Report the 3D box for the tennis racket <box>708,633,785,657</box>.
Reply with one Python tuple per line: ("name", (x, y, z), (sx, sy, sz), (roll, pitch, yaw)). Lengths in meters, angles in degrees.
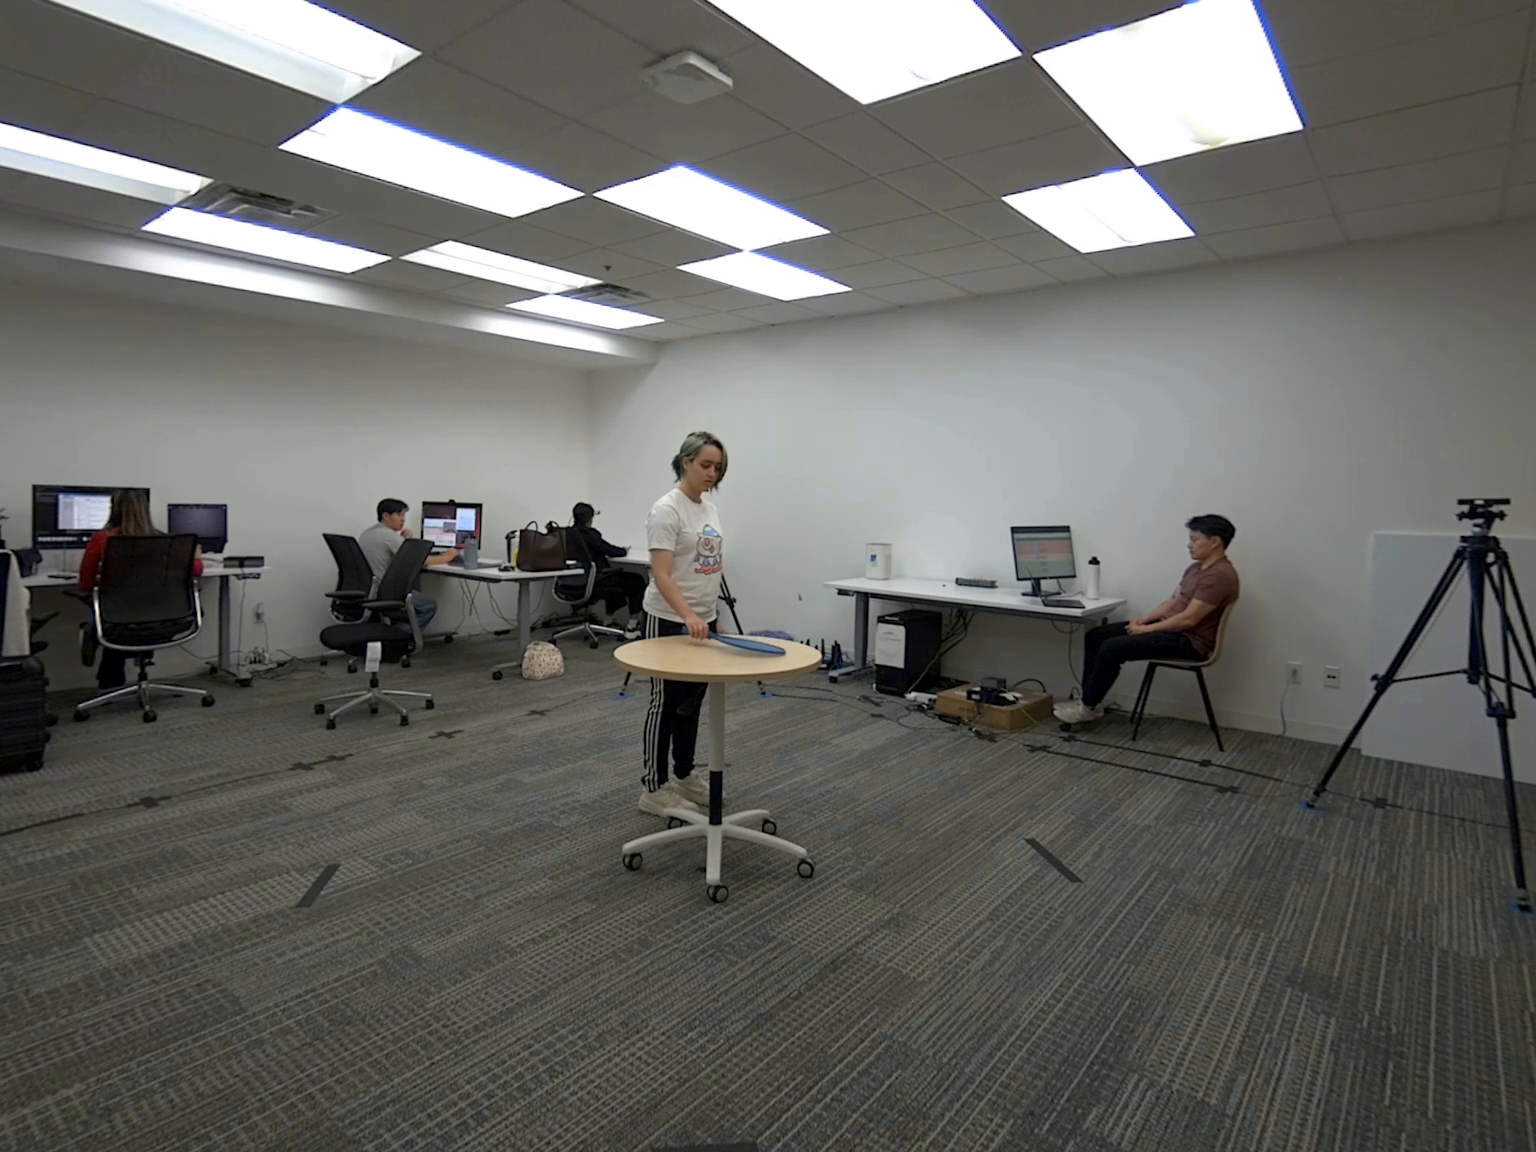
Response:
("tennis racket", (-0.136, 0.253, 3.212), (0.446, 0.032, 0.207), (8, 2, 28))
